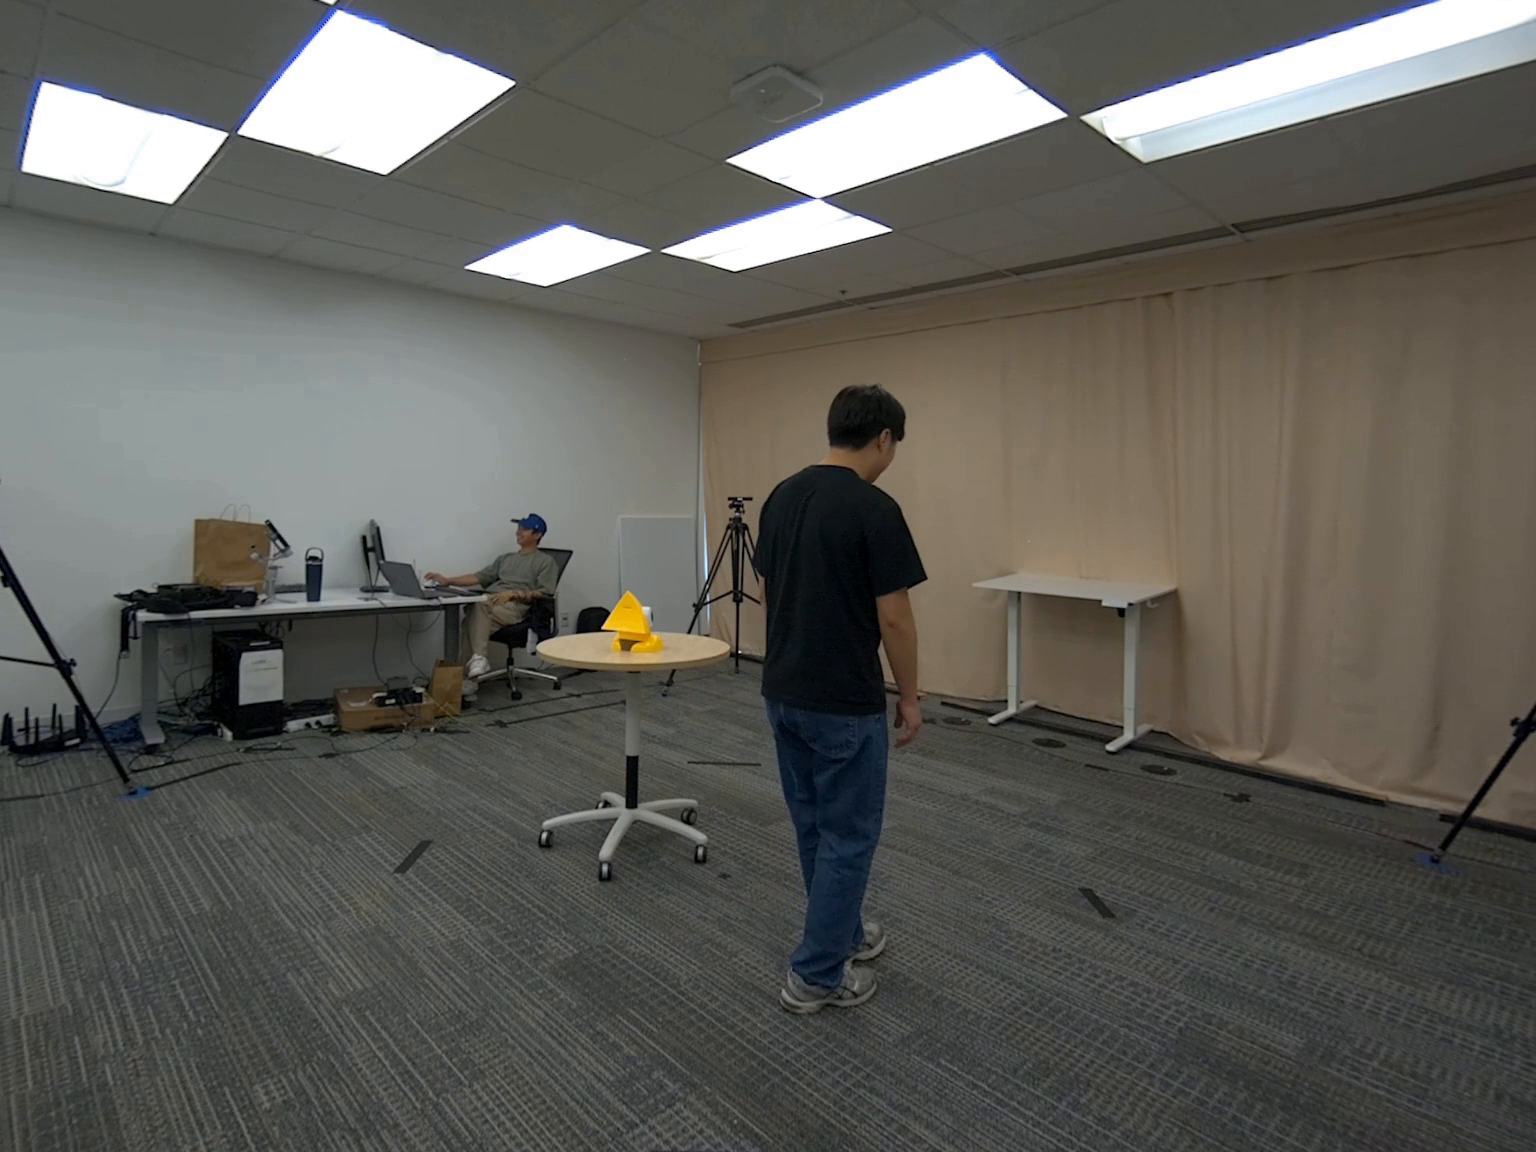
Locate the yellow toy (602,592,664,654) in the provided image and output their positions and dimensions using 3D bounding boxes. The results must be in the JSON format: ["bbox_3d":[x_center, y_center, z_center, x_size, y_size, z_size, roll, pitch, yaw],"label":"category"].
[{"bbox_3d":[-0.525,0.171,3.297,0.209,0.230,0.190,2,4,27],"label":"yellow toy"}]
